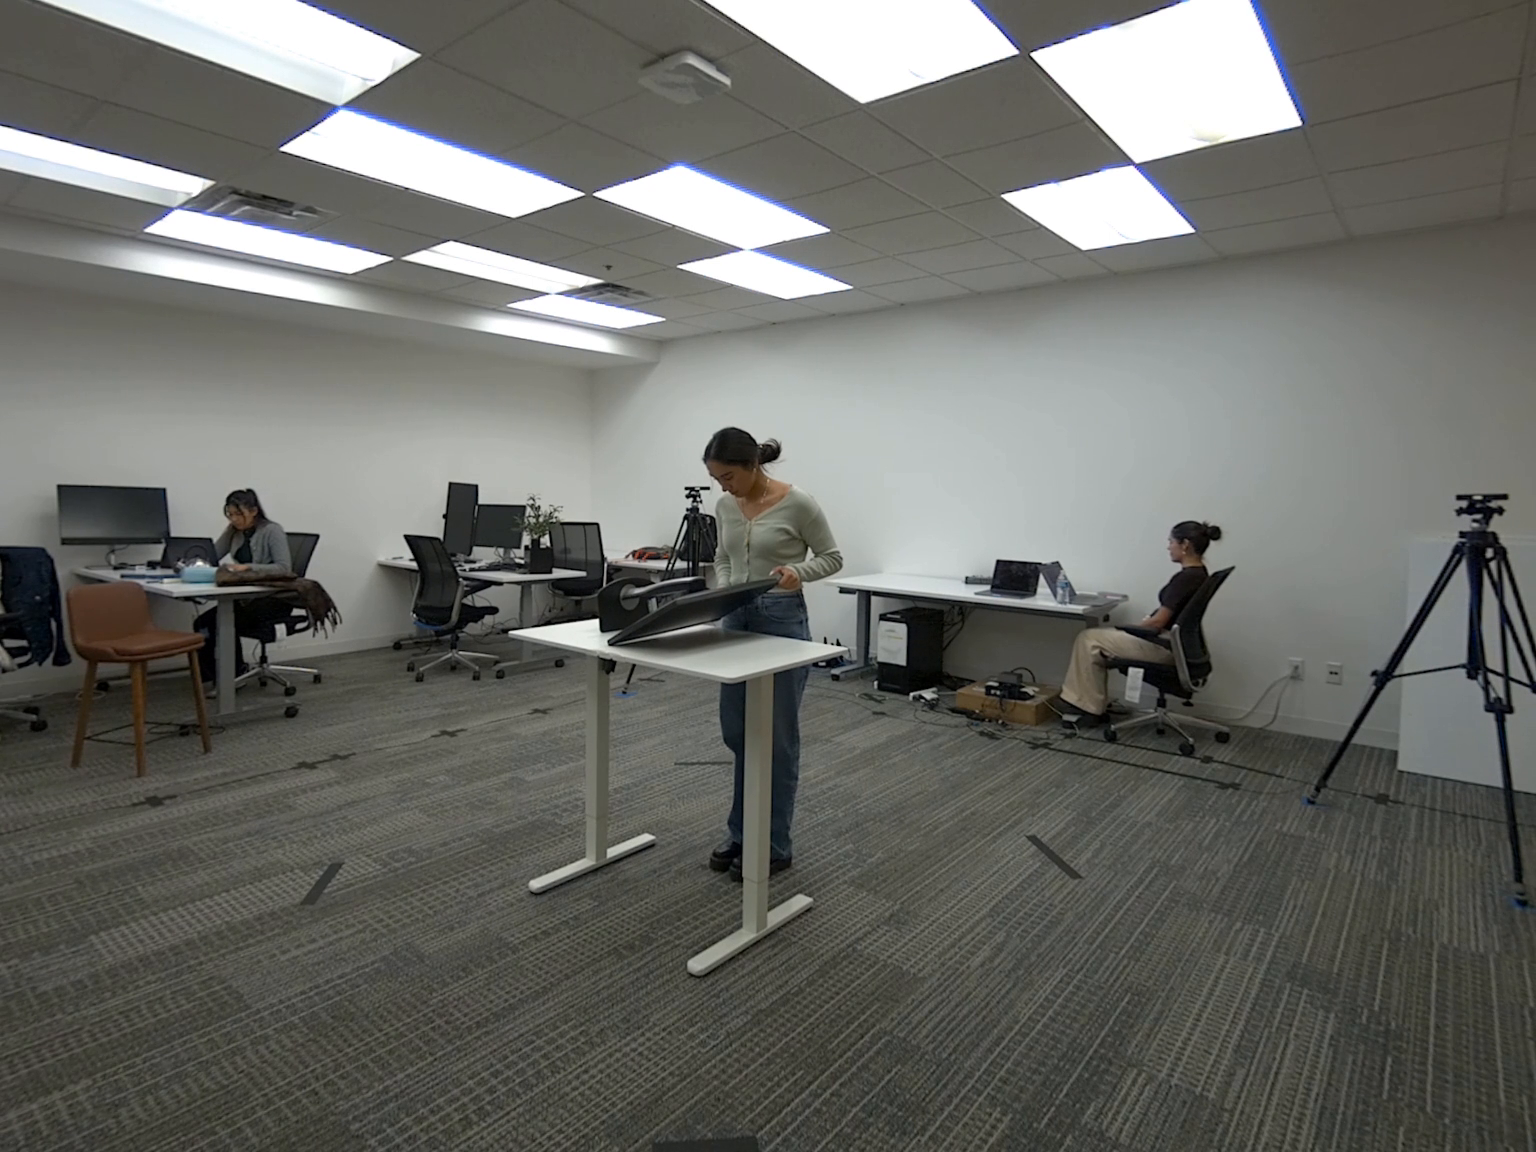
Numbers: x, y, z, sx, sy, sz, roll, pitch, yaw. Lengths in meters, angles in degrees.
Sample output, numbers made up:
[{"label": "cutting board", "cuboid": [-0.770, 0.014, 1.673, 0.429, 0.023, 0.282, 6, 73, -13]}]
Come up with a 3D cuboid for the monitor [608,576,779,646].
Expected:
[{"label": "monitor", "cuboid": [-0.318, 0.086, 2.867, 0.538, 0.186, 0.526, -3, 7, 42]}]
